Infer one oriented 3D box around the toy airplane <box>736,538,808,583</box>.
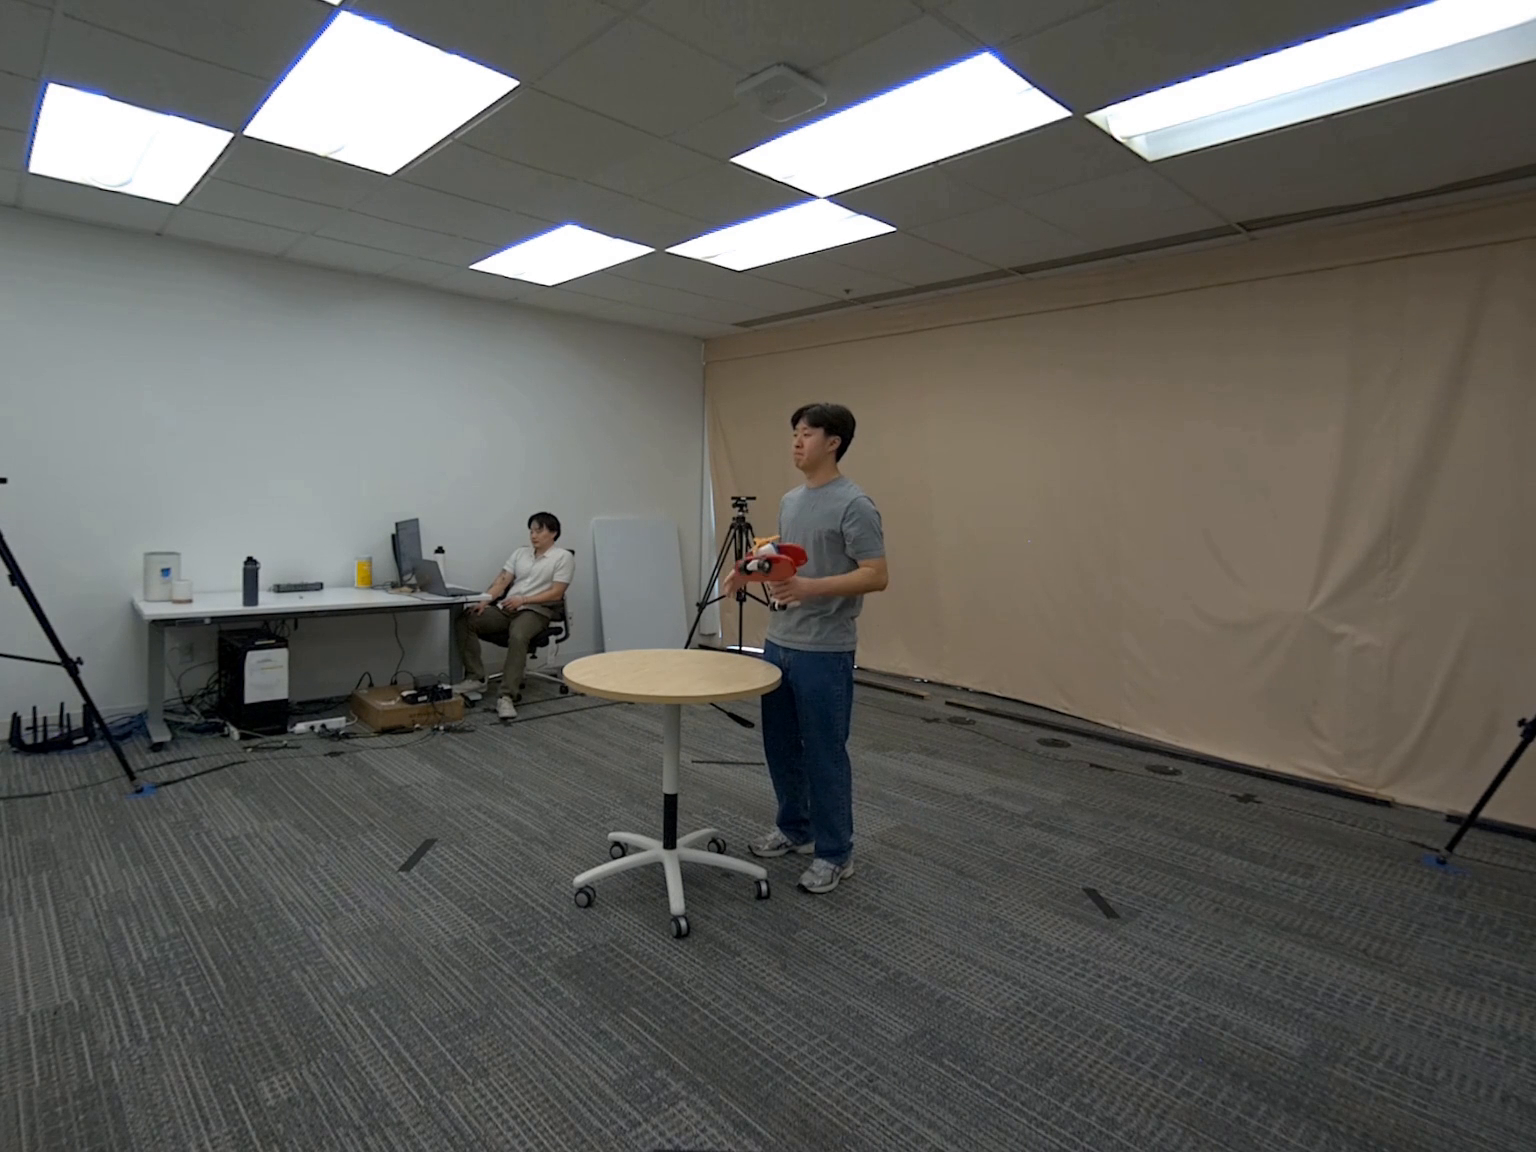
[{"bbox_3d":[-0.017,-0.021,2.907,0.256,0.253,0.157,18,51,21],"label":"toy airplane"}]
